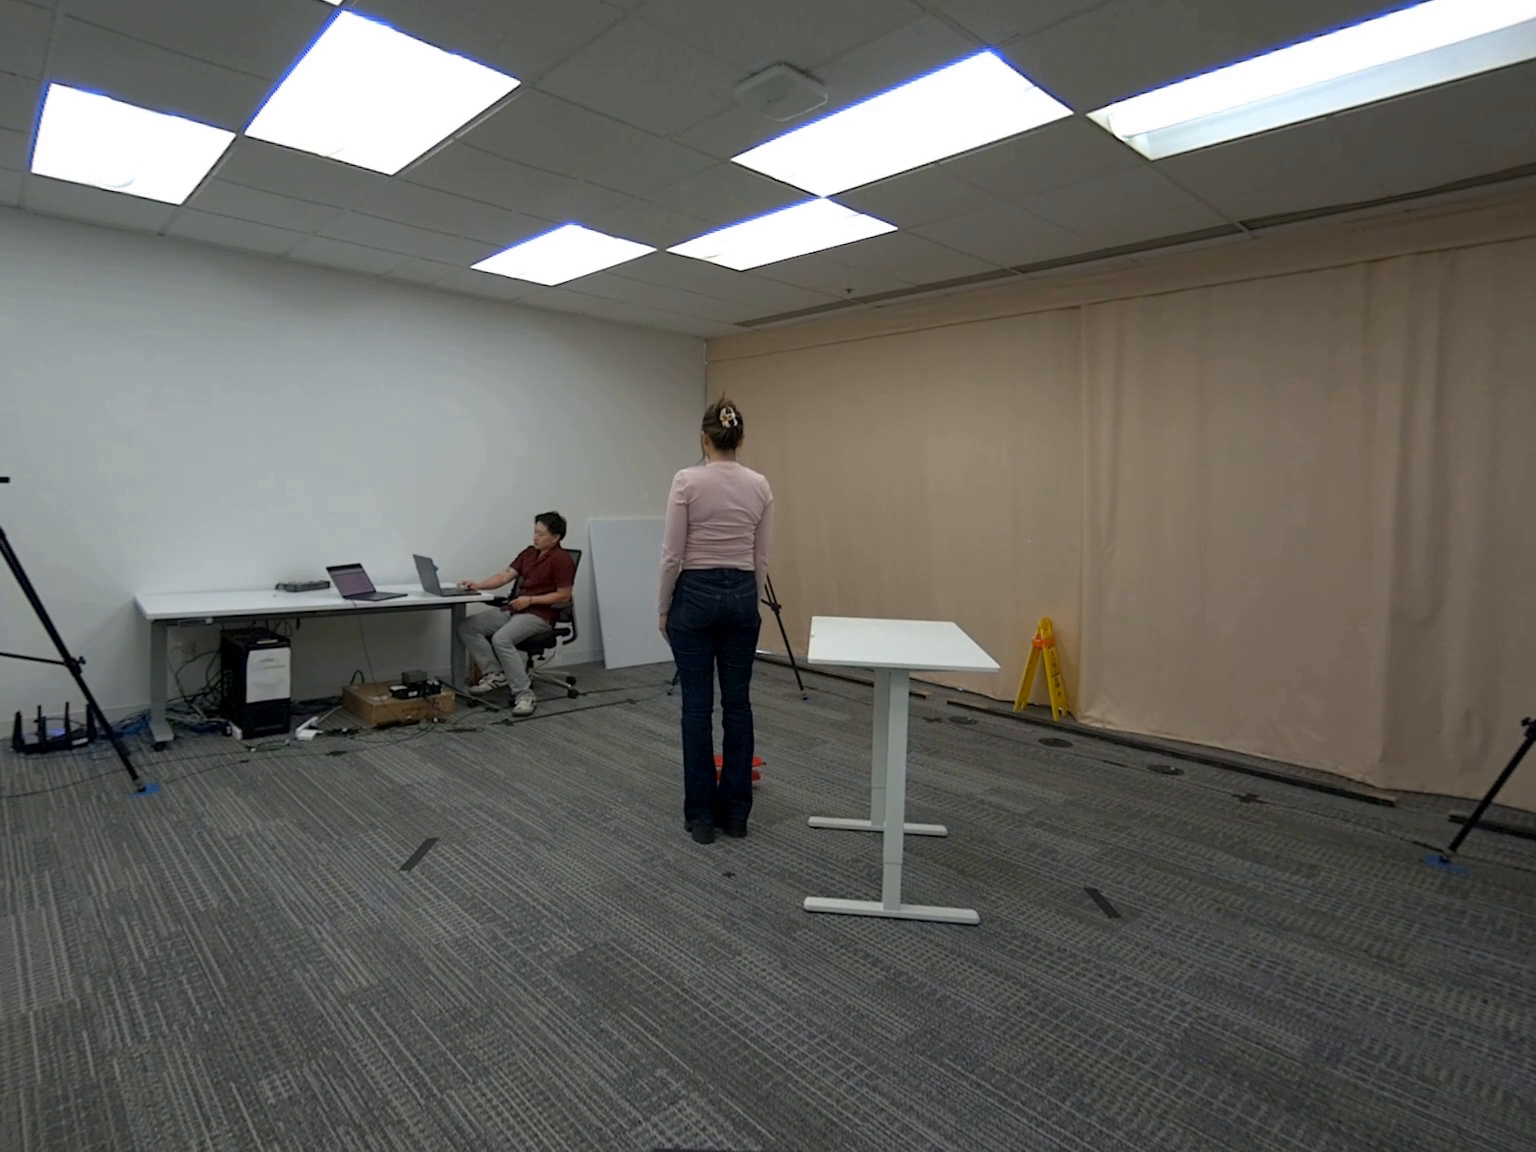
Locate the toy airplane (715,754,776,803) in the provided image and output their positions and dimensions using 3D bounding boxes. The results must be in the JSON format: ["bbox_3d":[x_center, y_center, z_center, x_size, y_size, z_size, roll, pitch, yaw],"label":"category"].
[{"bbox_3d":[-0.148,0.955,4.010,0.245,0.156,0.265,1,4,-34],"label":"toy airplane"}]
